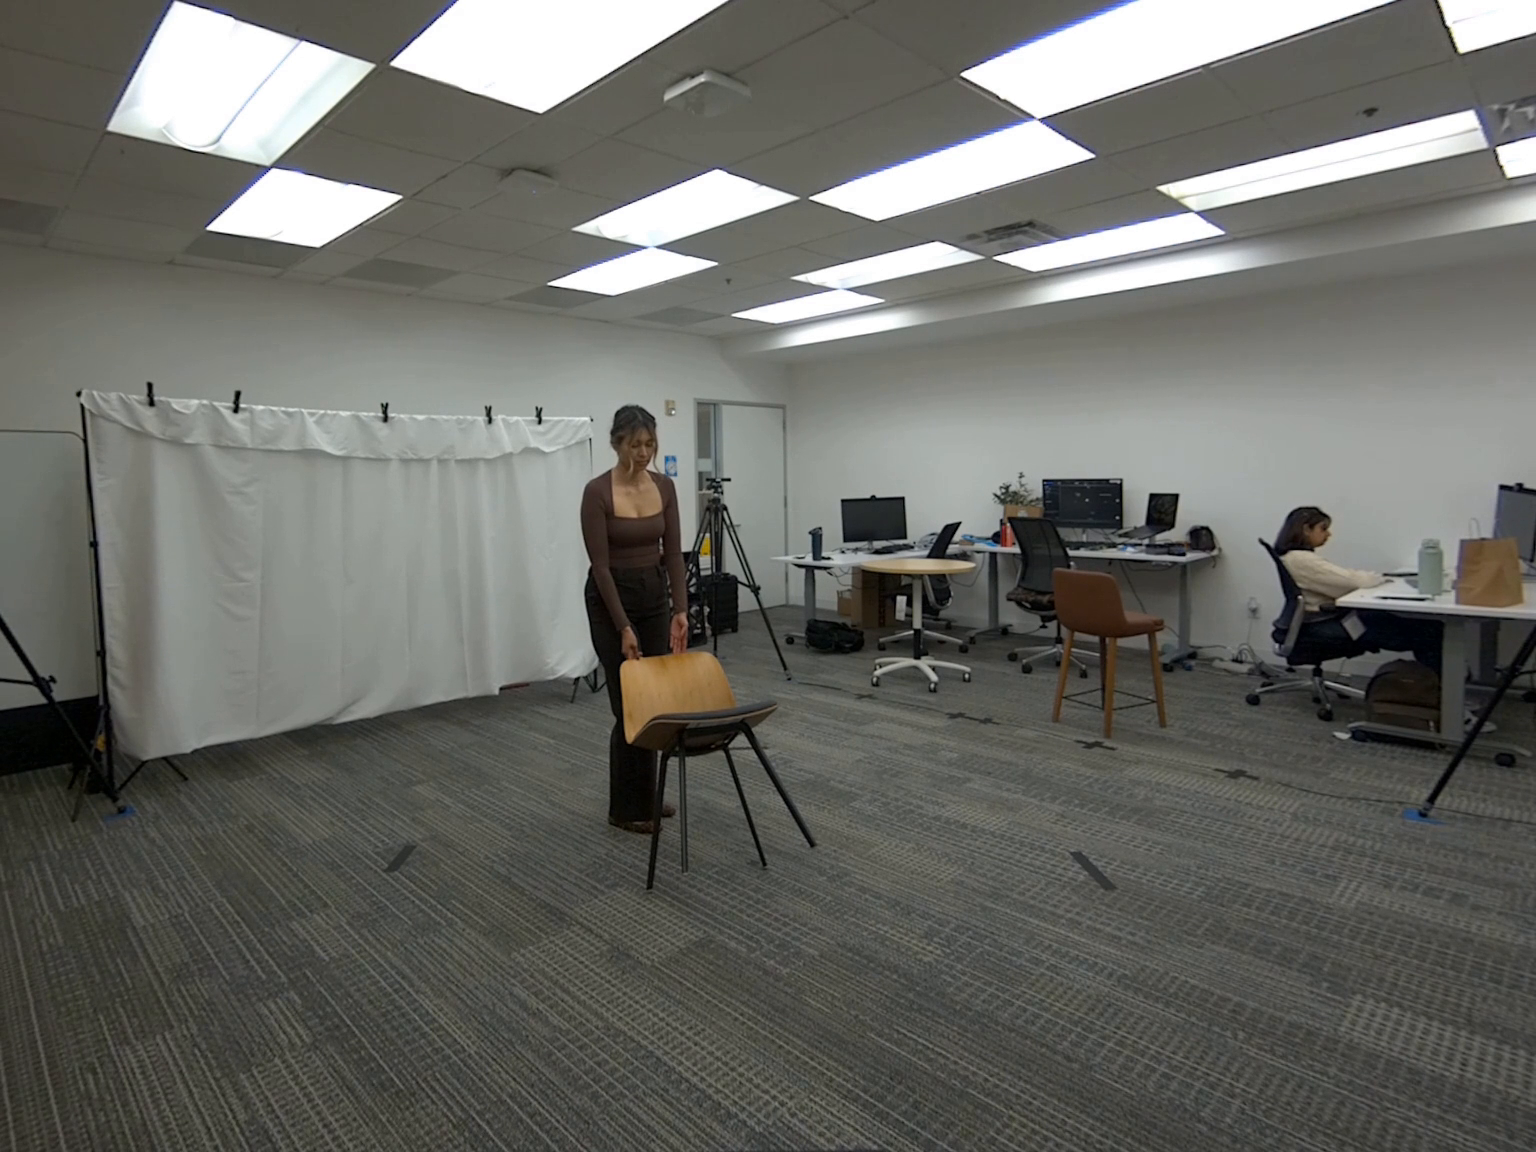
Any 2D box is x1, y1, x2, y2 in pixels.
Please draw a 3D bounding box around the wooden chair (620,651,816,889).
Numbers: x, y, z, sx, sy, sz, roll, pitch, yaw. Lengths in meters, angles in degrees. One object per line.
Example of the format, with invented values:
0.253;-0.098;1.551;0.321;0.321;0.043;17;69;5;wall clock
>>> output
-0.221;0.573;2.968;0.469;0.902;0.519;-3;-30;-23;wooden chair
